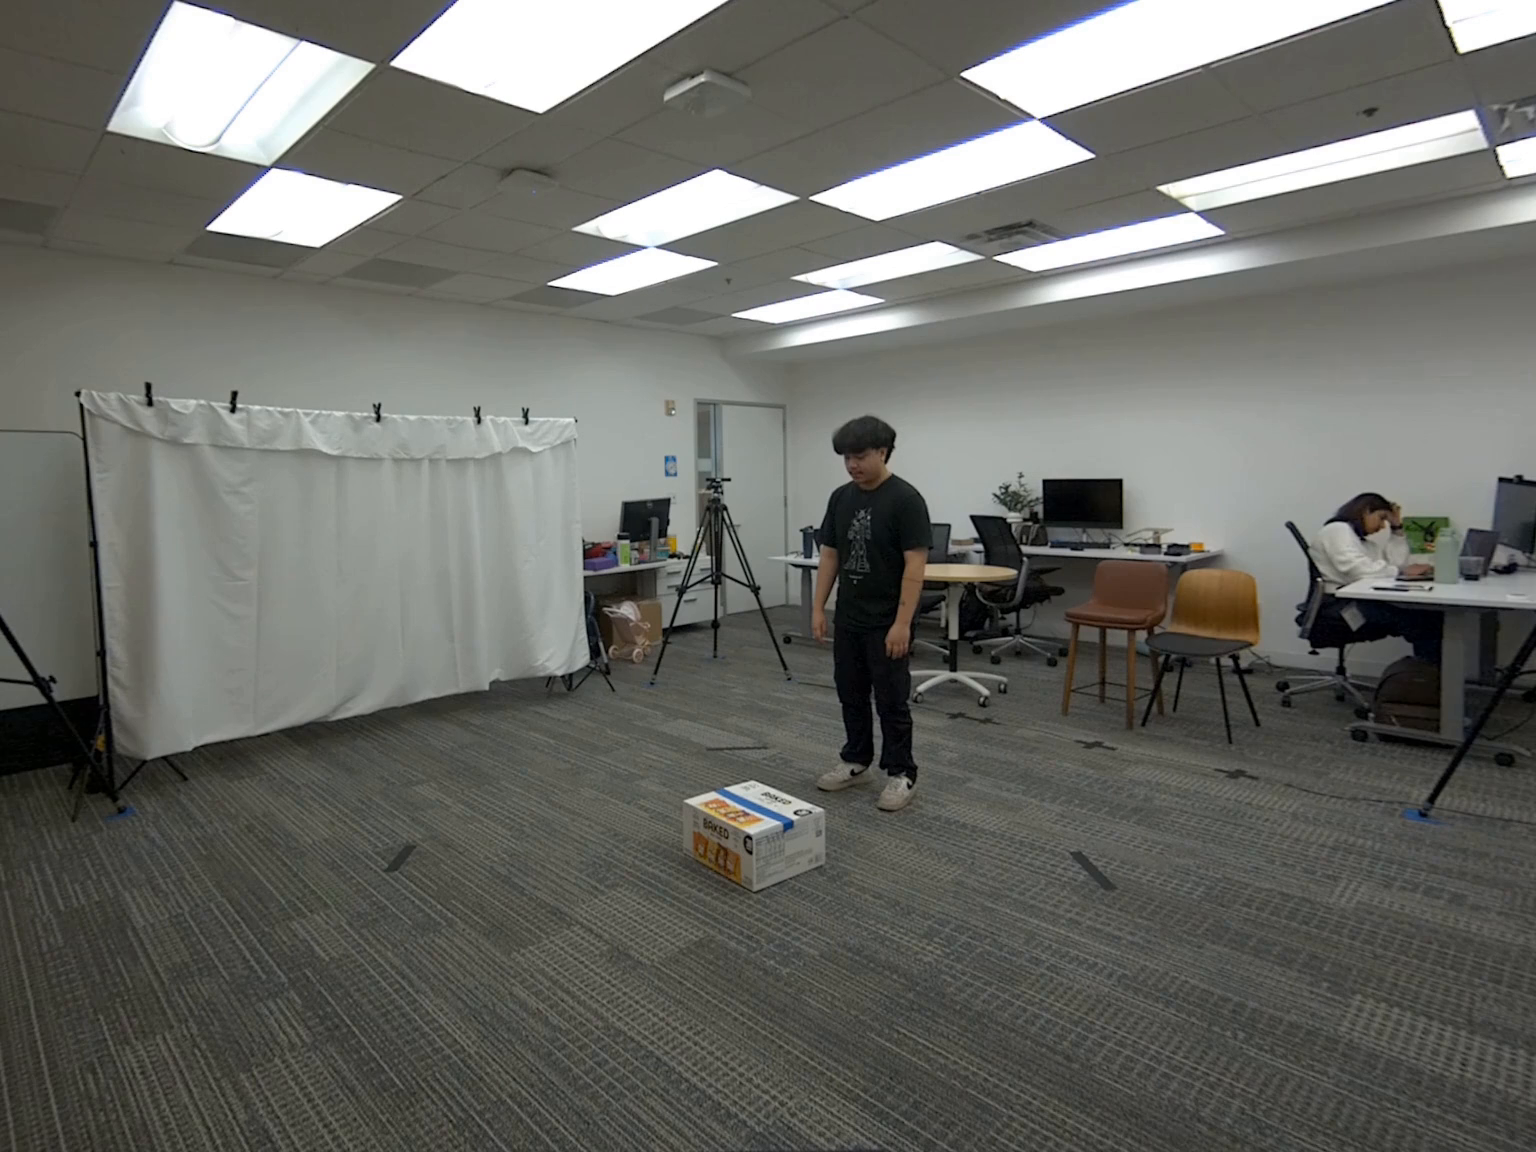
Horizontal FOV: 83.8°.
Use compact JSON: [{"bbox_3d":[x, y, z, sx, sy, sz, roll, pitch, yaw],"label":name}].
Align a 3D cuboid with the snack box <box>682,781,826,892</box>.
[{"bbox_3d":[-0.053,0.939,3.125,0.331,0.205,0.417,-6,7,-39],"label":"snack box"}]
